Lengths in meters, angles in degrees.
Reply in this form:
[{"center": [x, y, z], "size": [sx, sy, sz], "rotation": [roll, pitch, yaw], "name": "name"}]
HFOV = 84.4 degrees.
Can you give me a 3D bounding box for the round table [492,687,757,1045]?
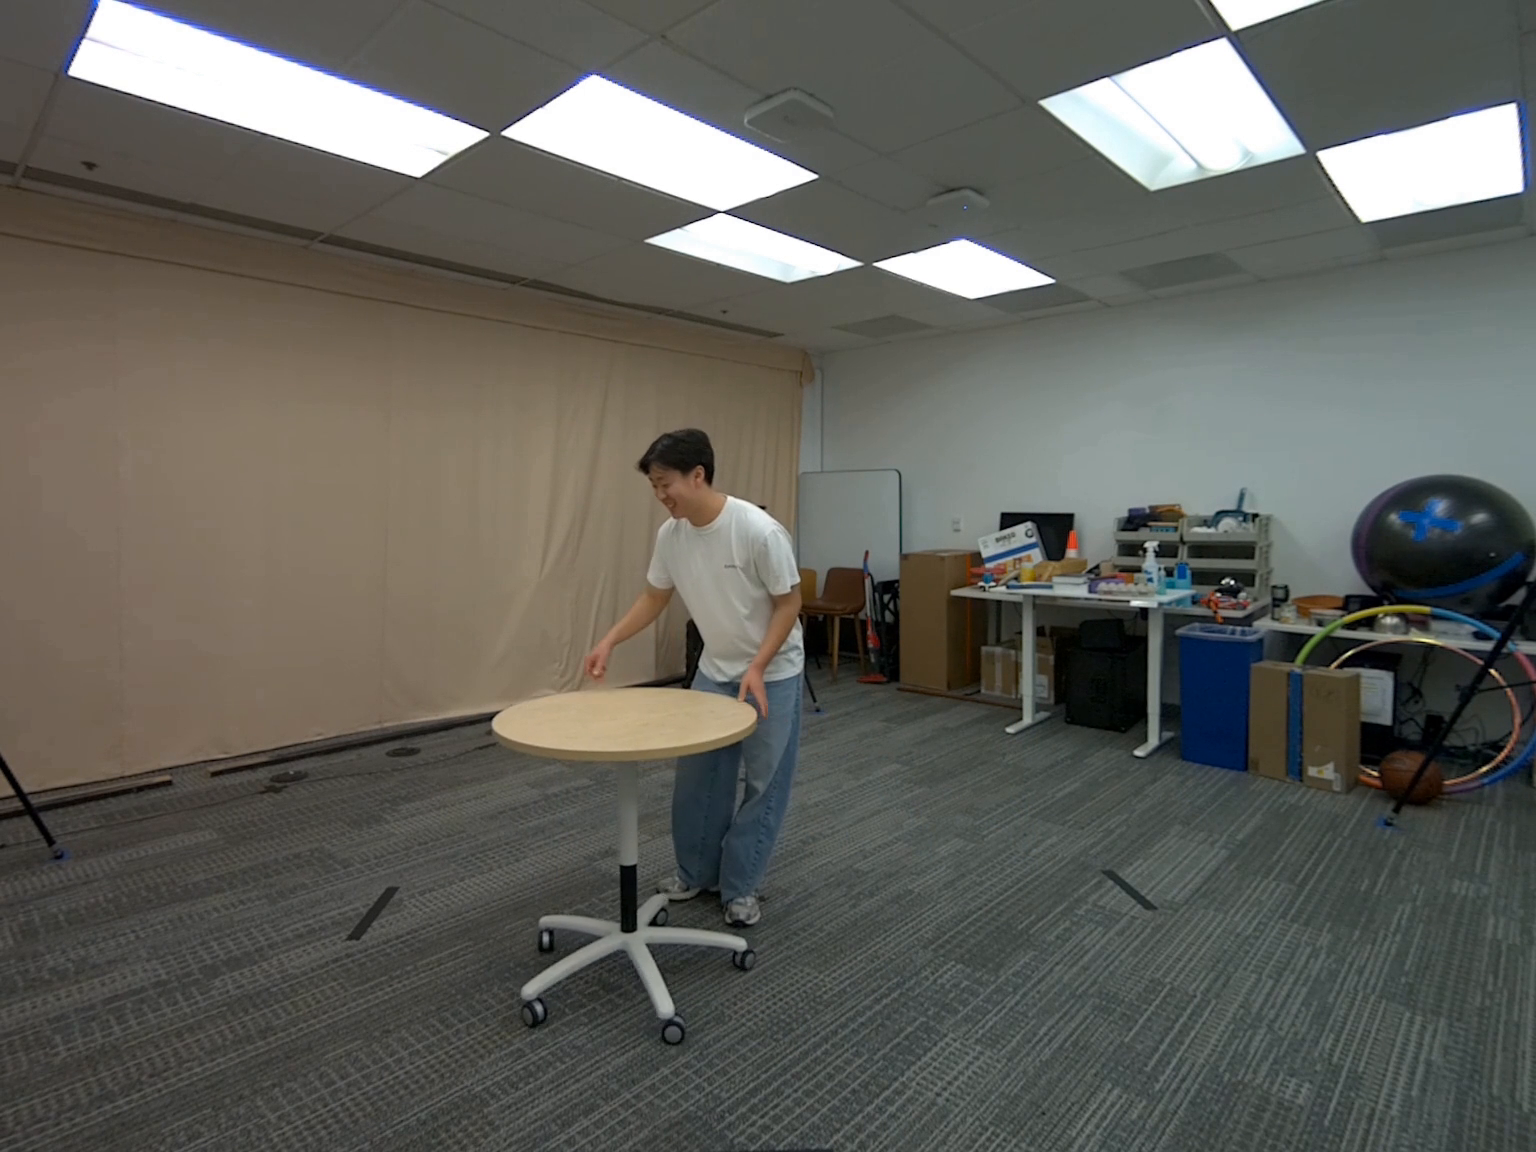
[{"center": [-0.406, 0.796, 2.487], "size": [0.784, 0.785, 0.788], "rotation": [0, 3, -2], "name": "round table"}]
